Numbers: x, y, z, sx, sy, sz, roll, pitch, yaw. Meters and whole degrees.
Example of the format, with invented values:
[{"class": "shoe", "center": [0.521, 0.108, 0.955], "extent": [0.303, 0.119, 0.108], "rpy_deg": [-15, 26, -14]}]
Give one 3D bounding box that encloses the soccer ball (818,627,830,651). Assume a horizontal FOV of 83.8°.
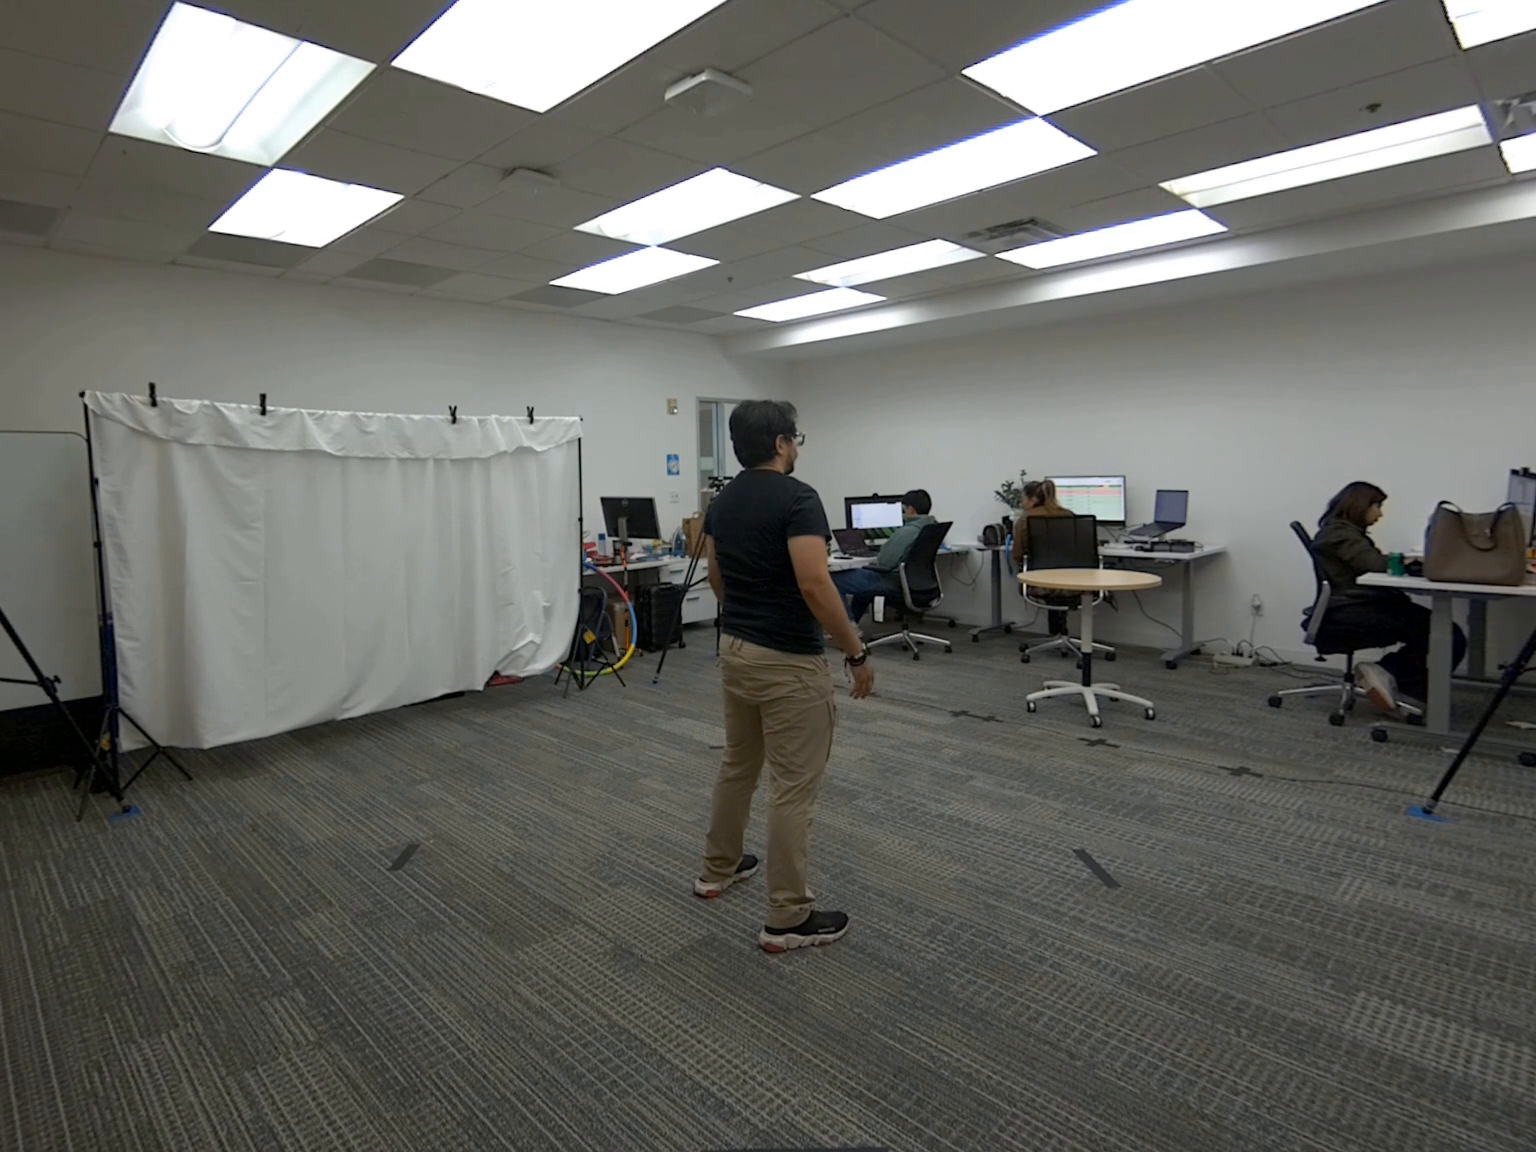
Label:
[{"class": "soccer ball", "center": [0.080, 0.163, 2.976], "extent": [0.187, 0.187, 0.188], "rpy_deg": [-1, 5, -2]}]
